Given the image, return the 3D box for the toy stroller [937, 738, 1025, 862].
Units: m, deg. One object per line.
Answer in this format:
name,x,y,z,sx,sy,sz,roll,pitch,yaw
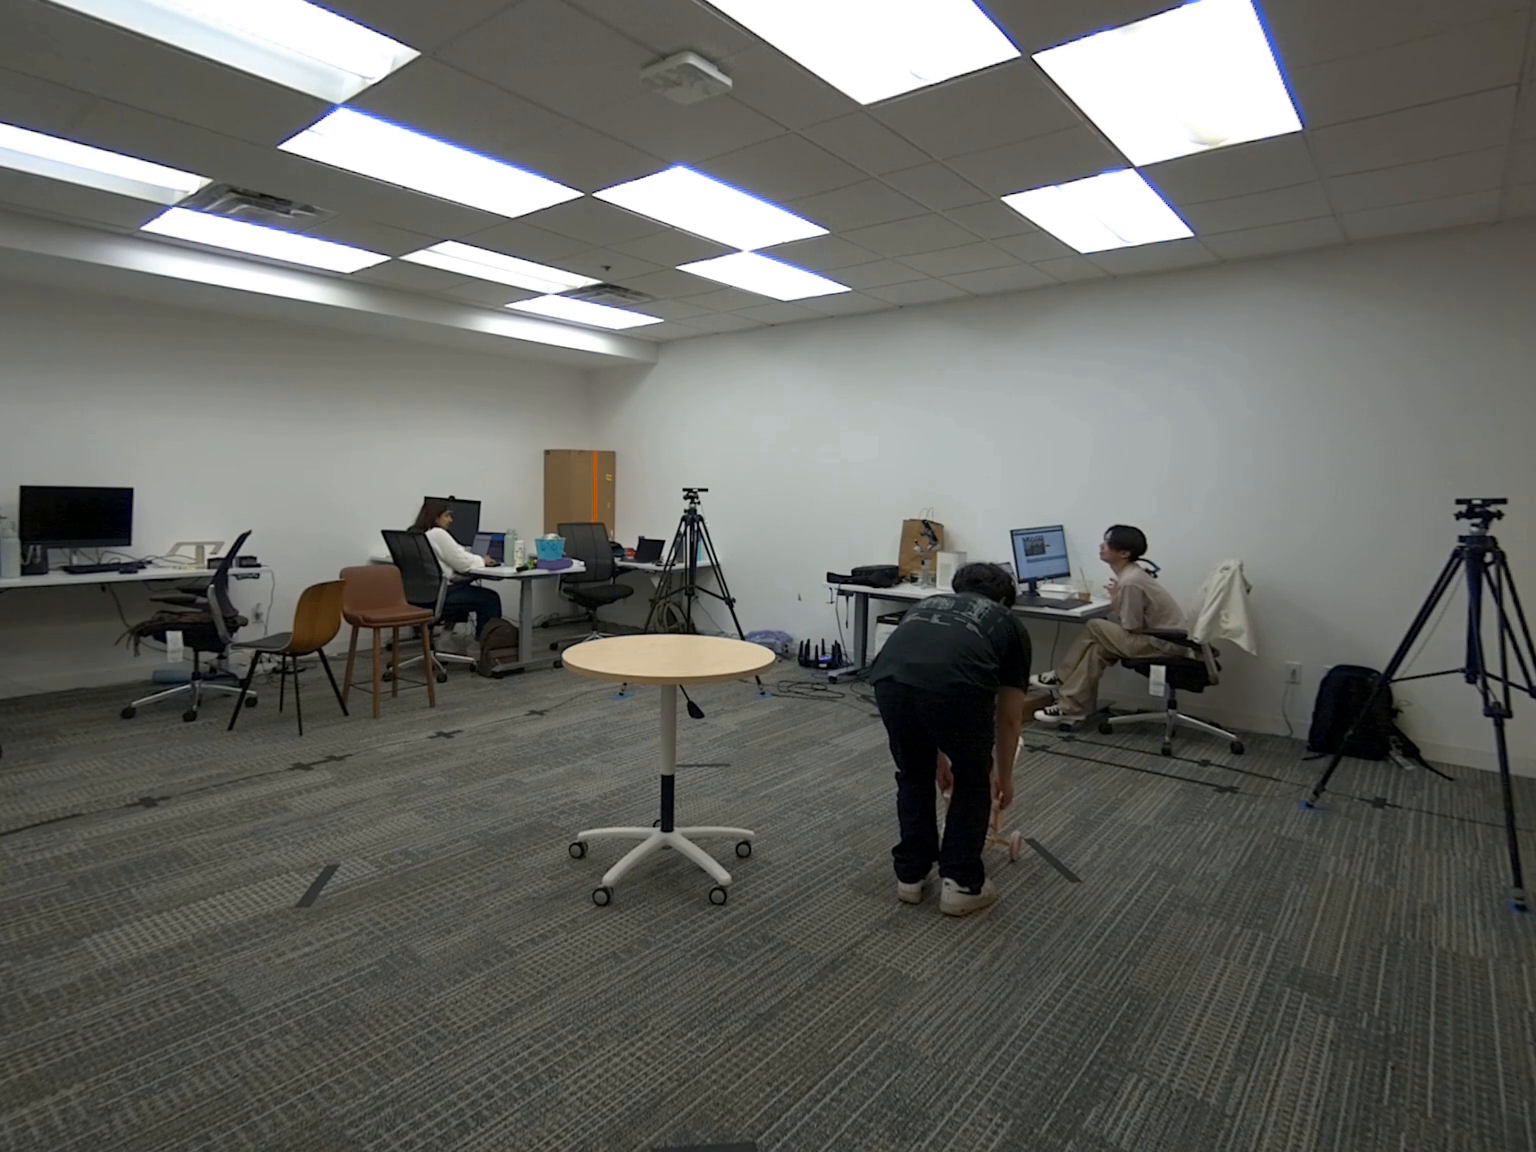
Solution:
toy stroller,0.798,0.849,3.265,0.291,0.538,0.328,7,-10,39
